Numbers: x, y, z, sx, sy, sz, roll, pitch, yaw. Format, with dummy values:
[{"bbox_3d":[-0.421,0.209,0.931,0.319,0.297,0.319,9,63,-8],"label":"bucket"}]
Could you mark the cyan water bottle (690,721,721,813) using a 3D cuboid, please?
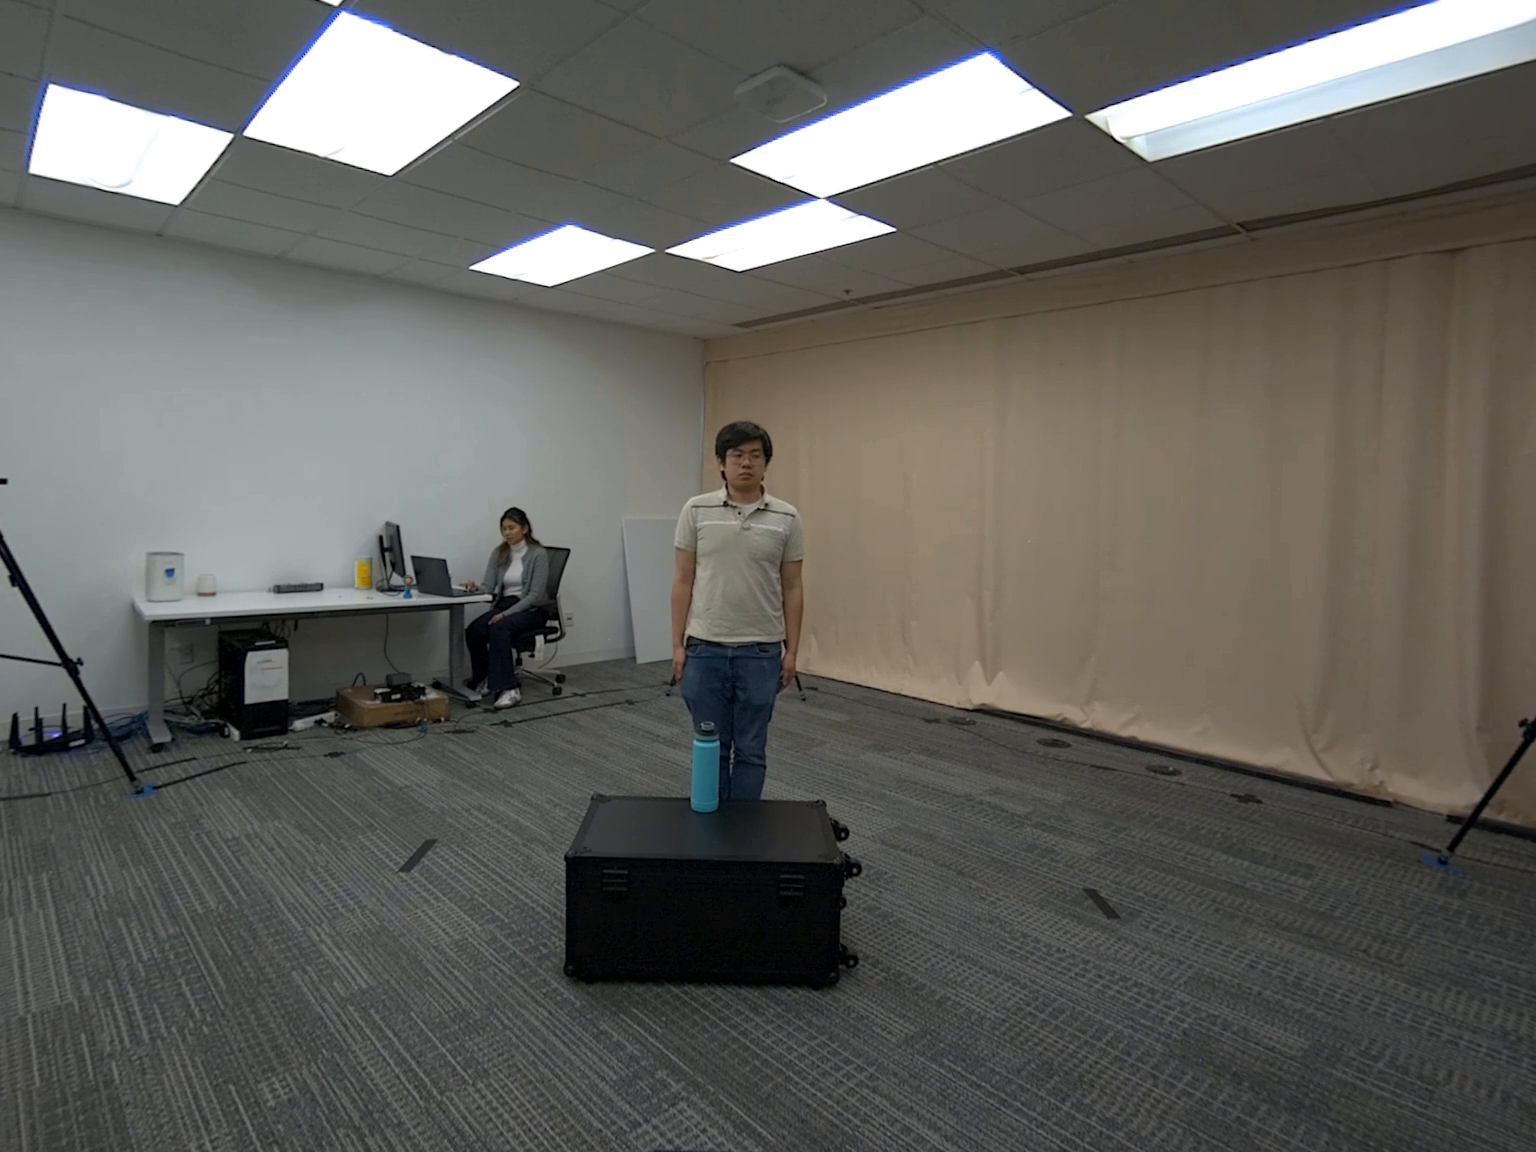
[{"bbox_3d":[-0.225,0.623,2.752,0.092,0.283,0.092,1,2,-1],"label":"cyan water bottle"}]
